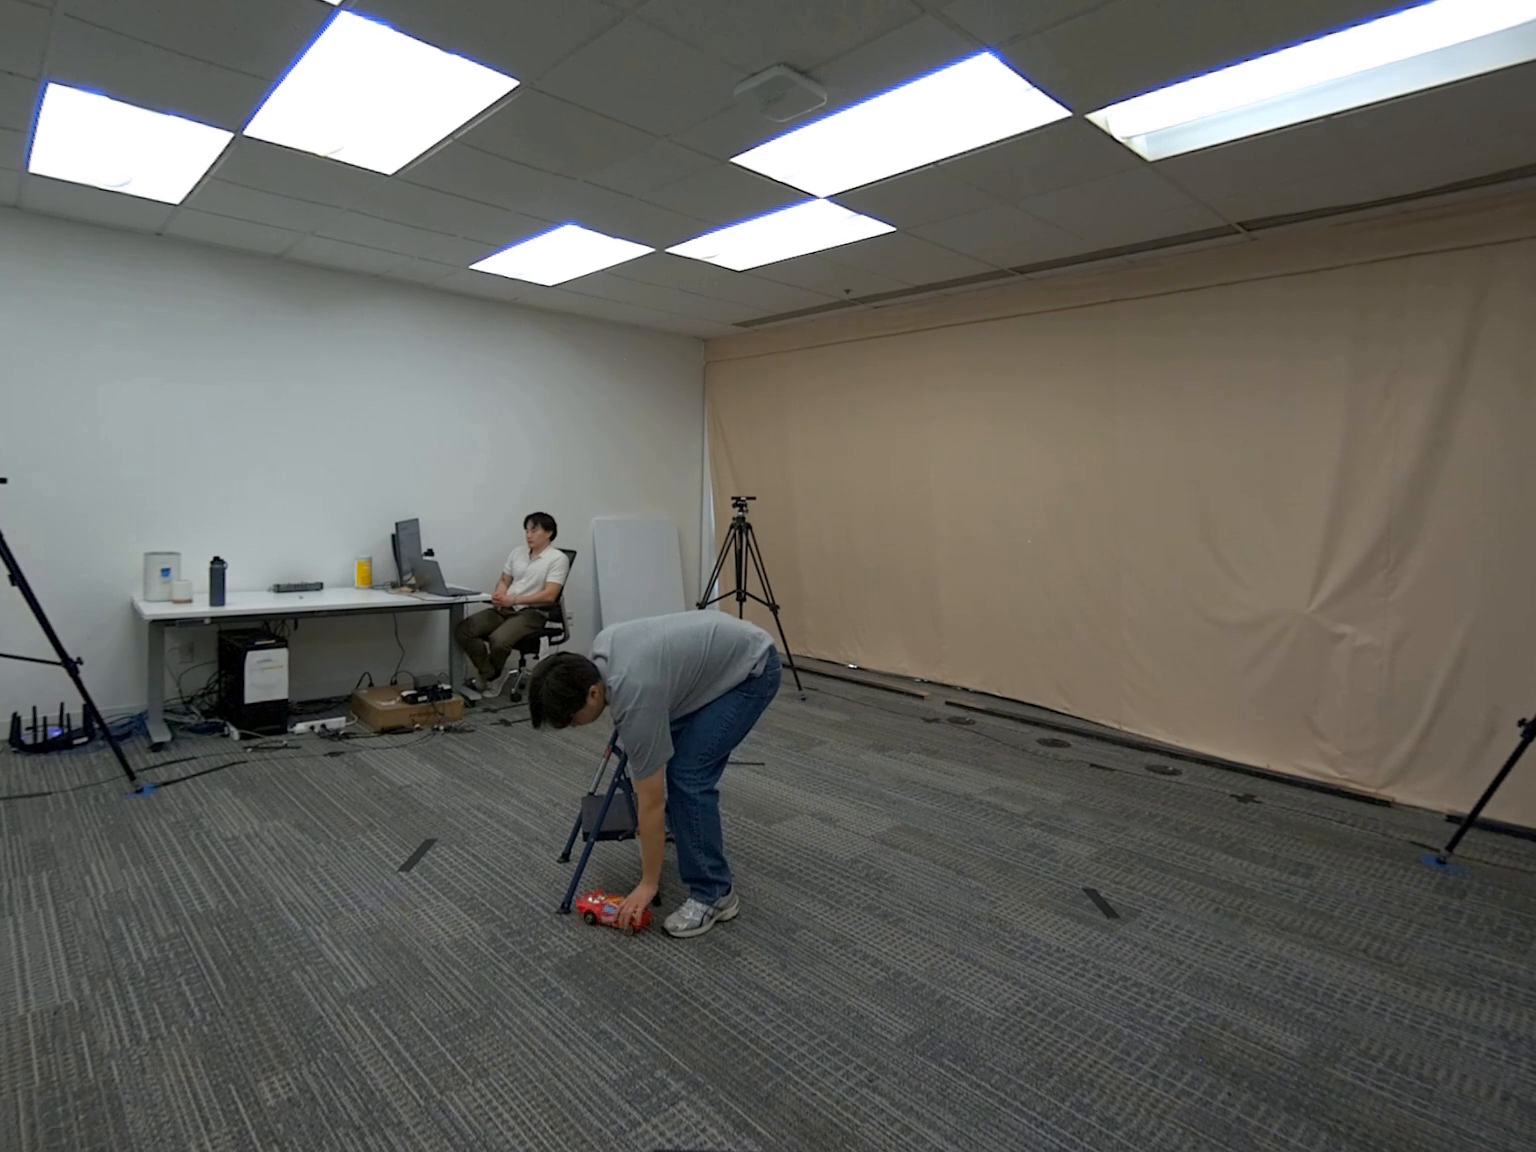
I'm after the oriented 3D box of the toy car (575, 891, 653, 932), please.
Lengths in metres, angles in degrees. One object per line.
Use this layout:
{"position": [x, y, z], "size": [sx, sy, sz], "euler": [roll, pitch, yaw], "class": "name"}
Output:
{"position": [-0.515, 1.098, 2.748], "size": [0.259, 0.083, 0.129], "euler": [18, 11, 18], "class": "toy car"}
